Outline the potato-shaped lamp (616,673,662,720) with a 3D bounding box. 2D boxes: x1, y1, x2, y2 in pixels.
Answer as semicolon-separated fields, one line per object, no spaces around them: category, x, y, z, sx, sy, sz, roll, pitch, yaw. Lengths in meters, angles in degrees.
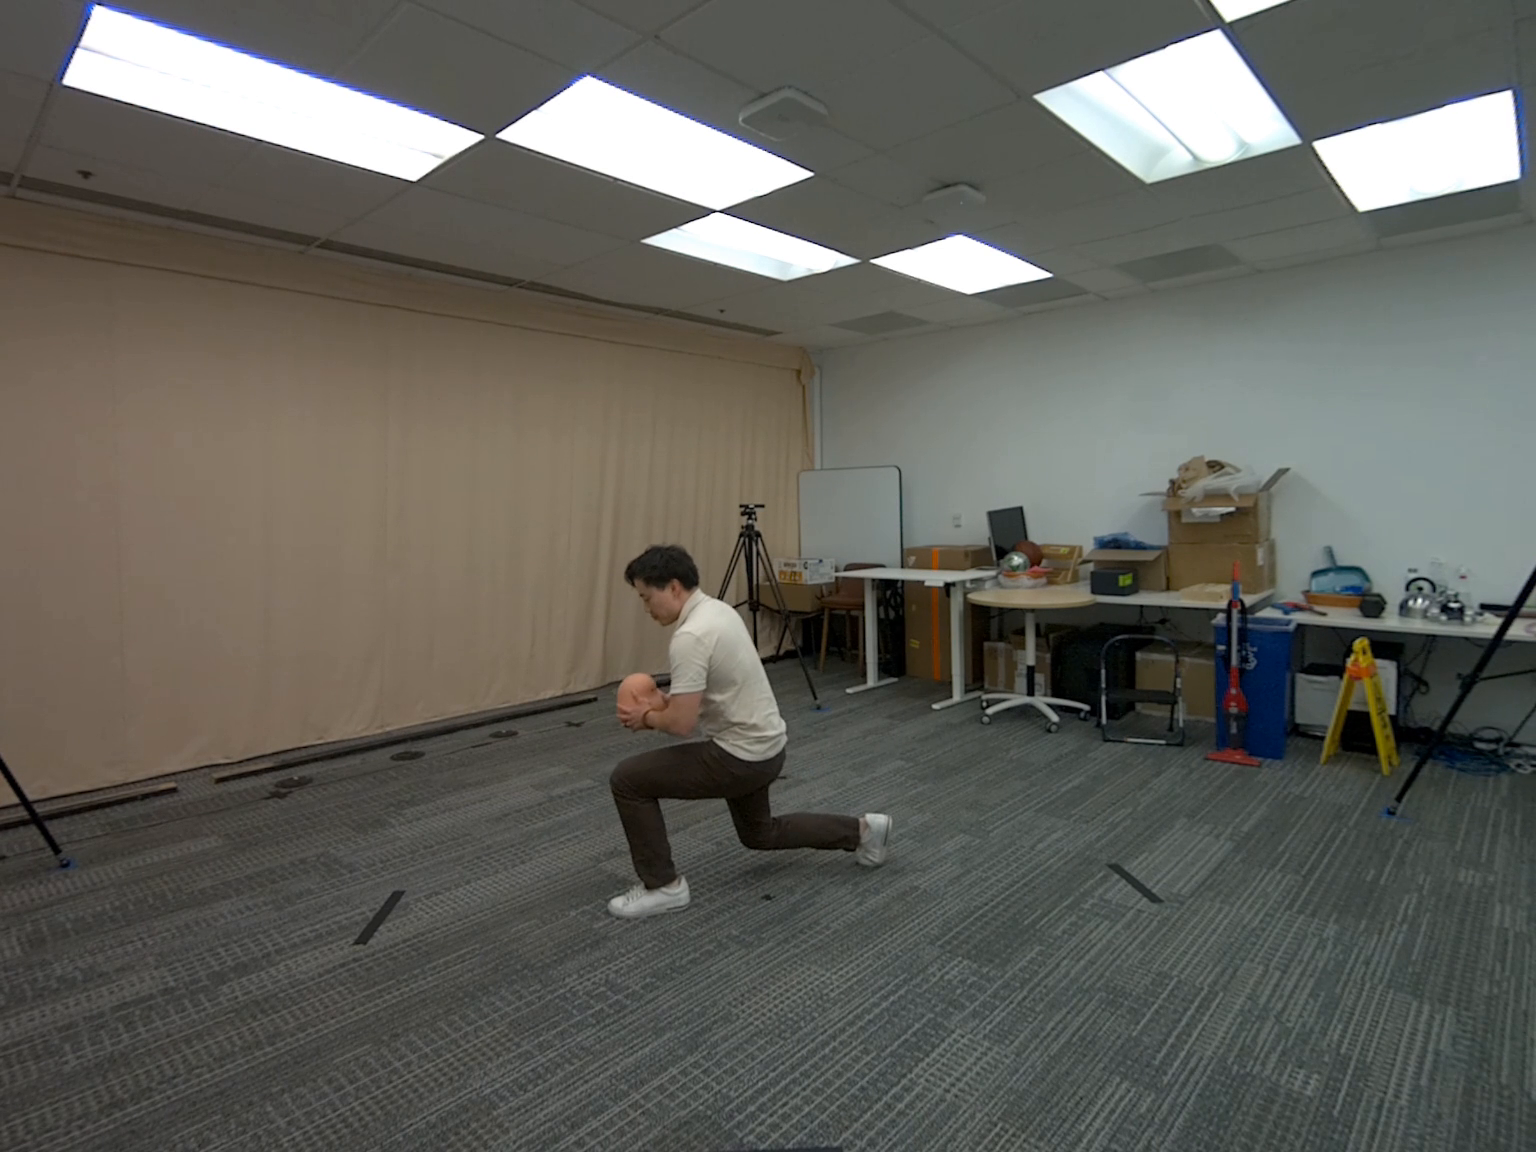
potato-shaped lamp;-0.451;0.439;3.049;0.174;0.198;0.162;-4;0;14
